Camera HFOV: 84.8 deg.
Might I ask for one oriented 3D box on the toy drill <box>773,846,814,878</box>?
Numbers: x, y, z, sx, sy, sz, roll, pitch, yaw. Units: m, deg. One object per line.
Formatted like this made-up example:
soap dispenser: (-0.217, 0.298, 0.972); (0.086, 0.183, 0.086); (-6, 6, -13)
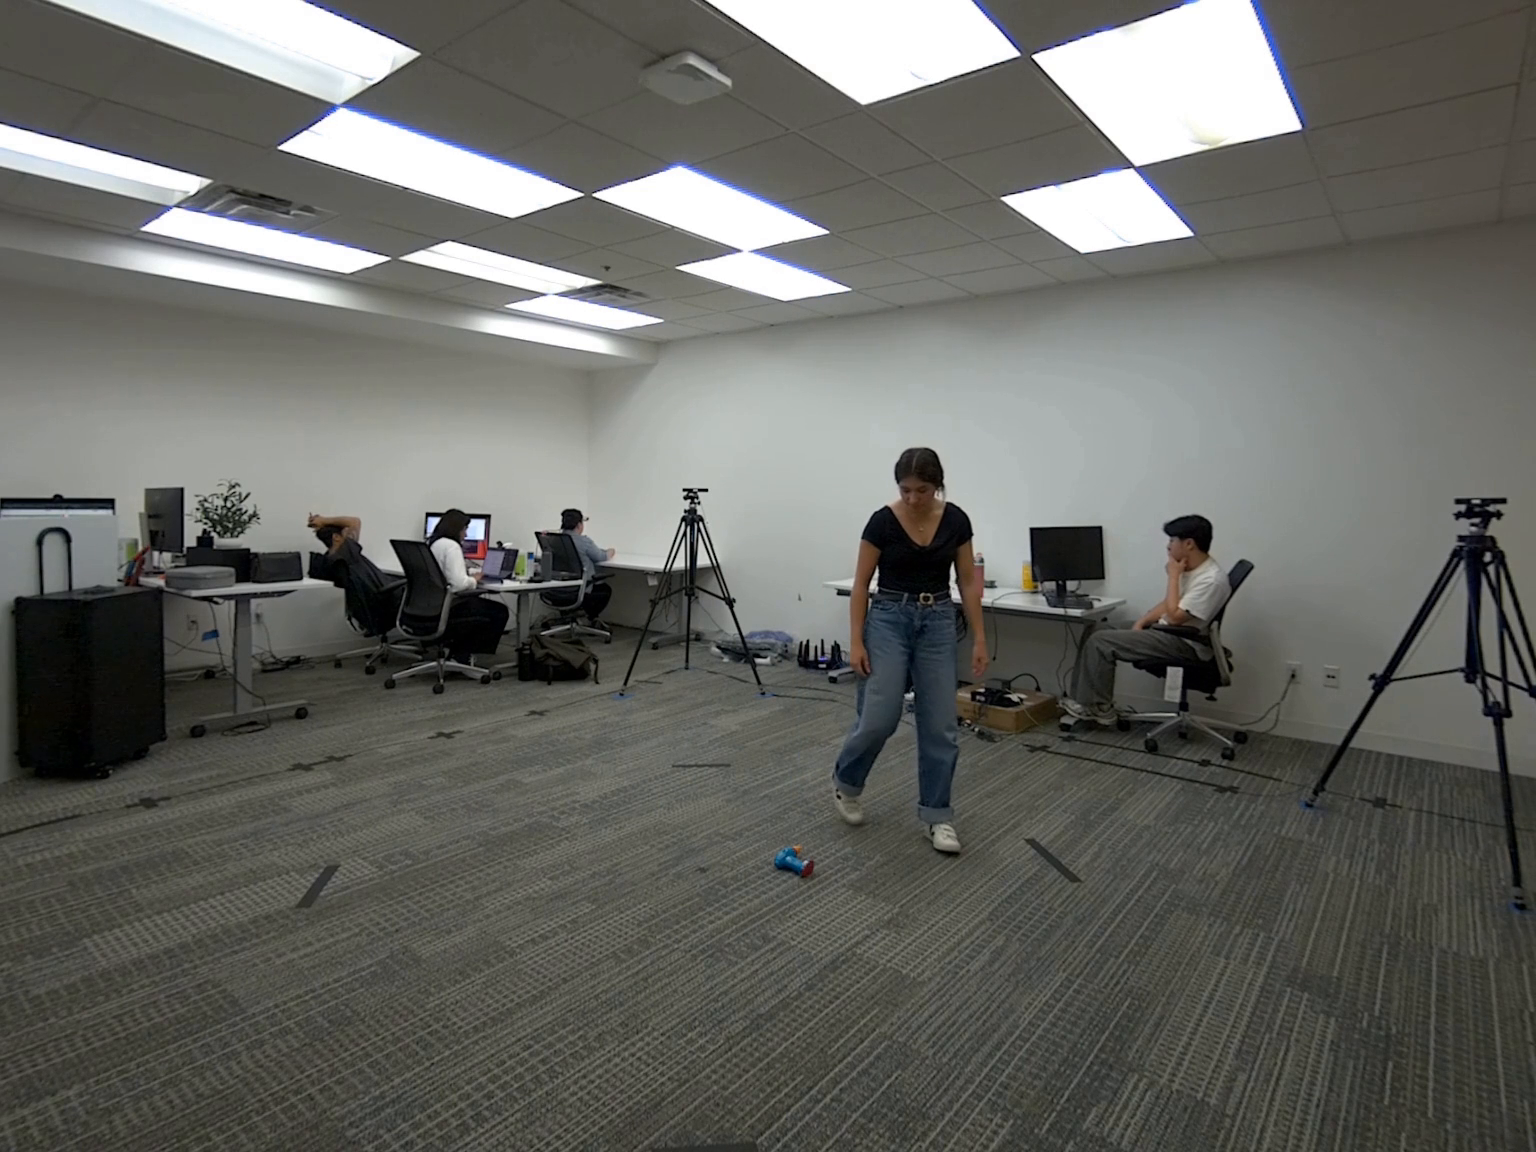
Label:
toy drill: (0.113, 1.038, 3.150); (0.151, 0.060, 0.166); (7, 13, 35)
